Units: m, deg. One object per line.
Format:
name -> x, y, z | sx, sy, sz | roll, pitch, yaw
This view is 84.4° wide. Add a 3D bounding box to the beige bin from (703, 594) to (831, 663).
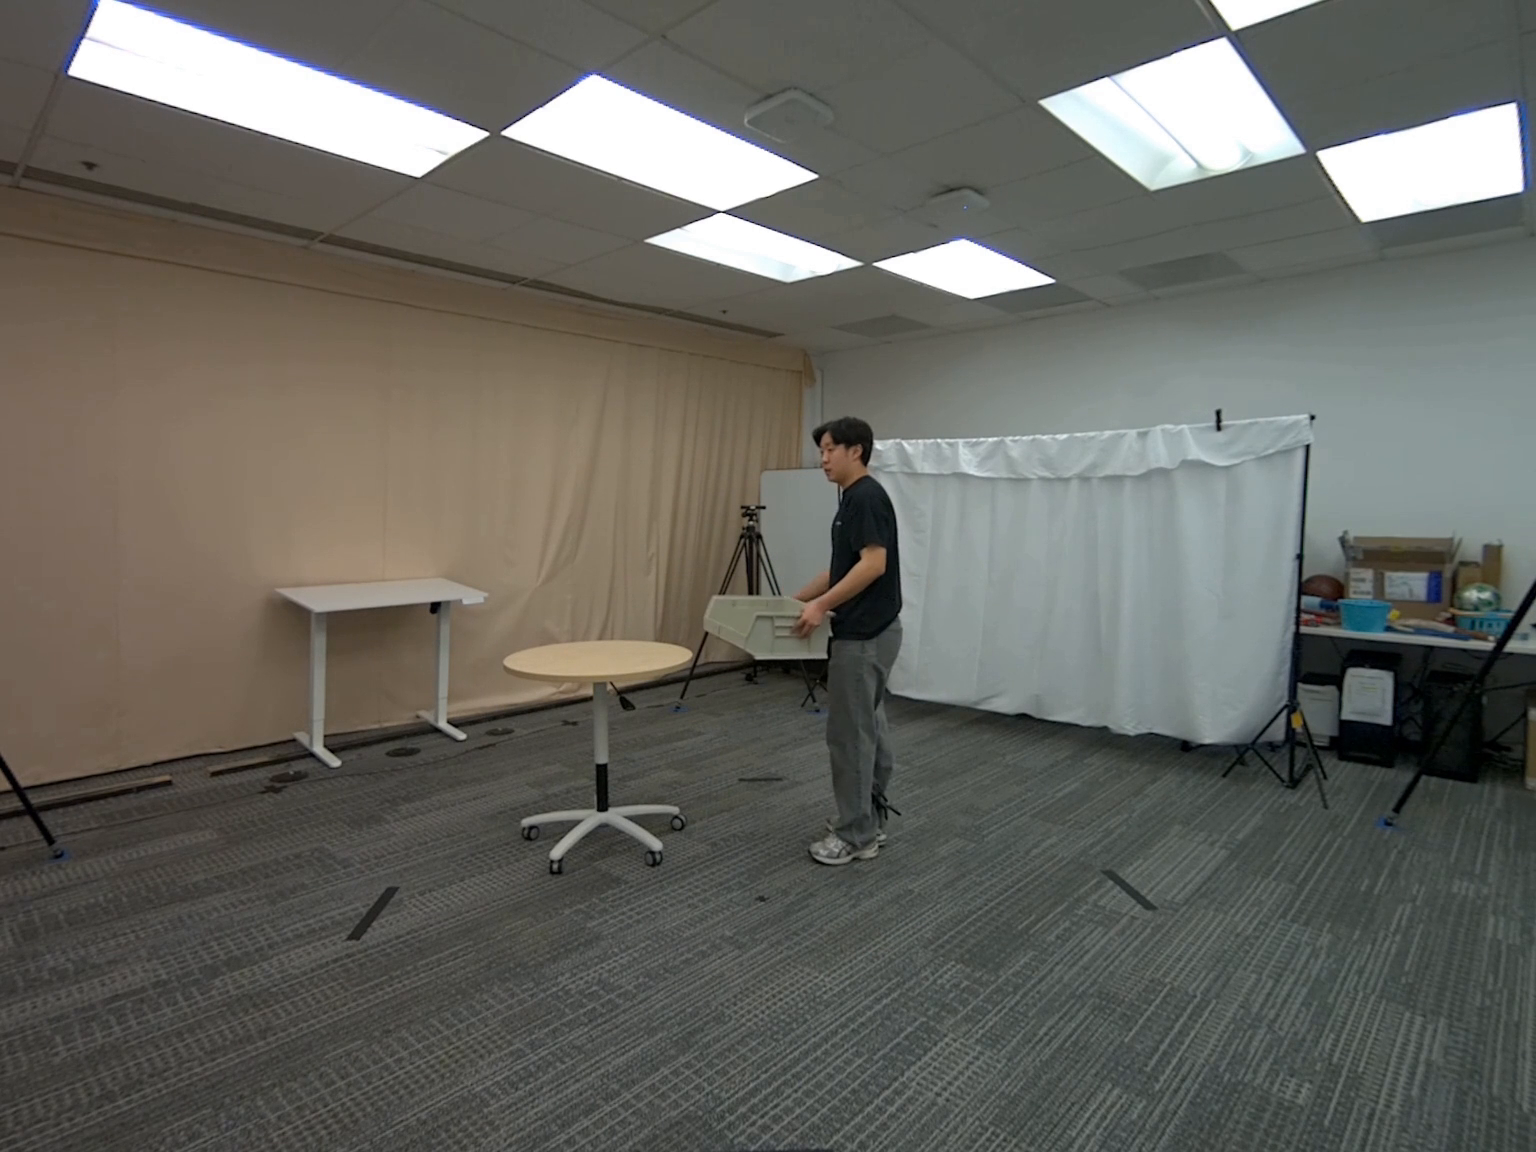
beige bin -> -0.003, 0.207, 3.381 | 0.369, 0.188, 0.433 | 3, 6, -22
